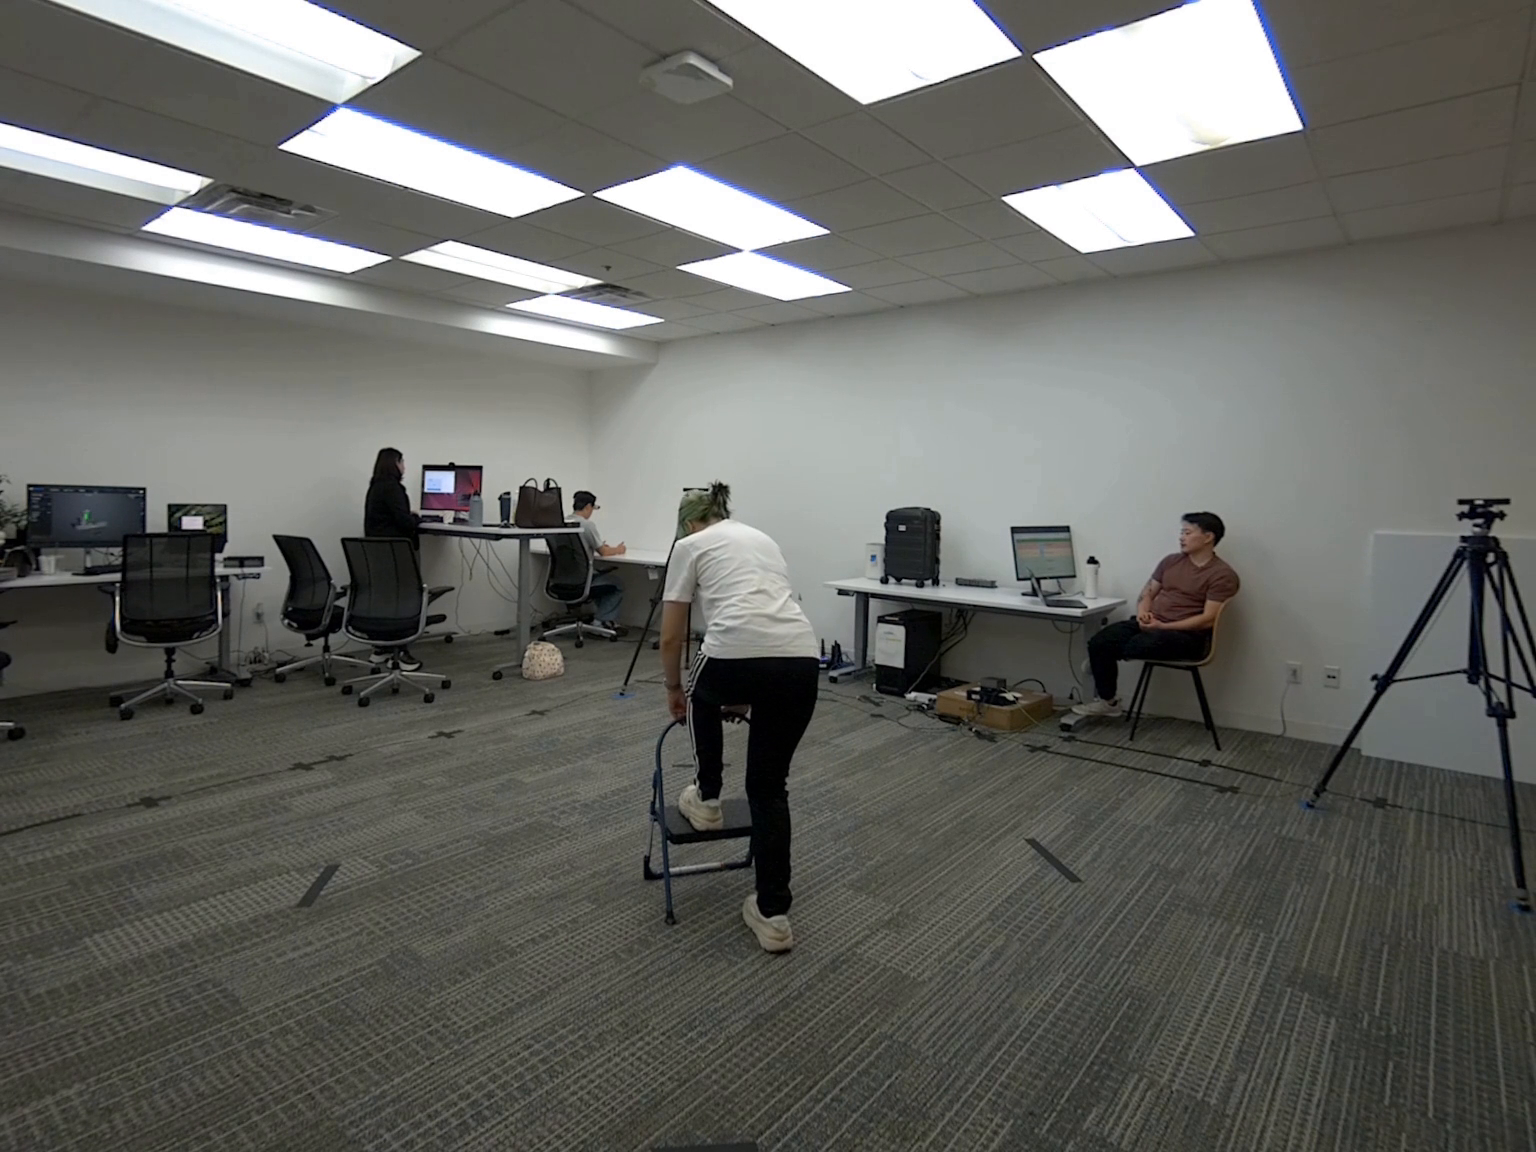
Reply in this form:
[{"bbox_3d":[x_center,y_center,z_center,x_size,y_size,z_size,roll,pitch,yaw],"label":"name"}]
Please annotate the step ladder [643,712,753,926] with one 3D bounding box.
[{"bbox_3d":[-0.195,0.790,2.922,0.421,0.604,0.358,0,3,-22],"label":"step ladder"}]
